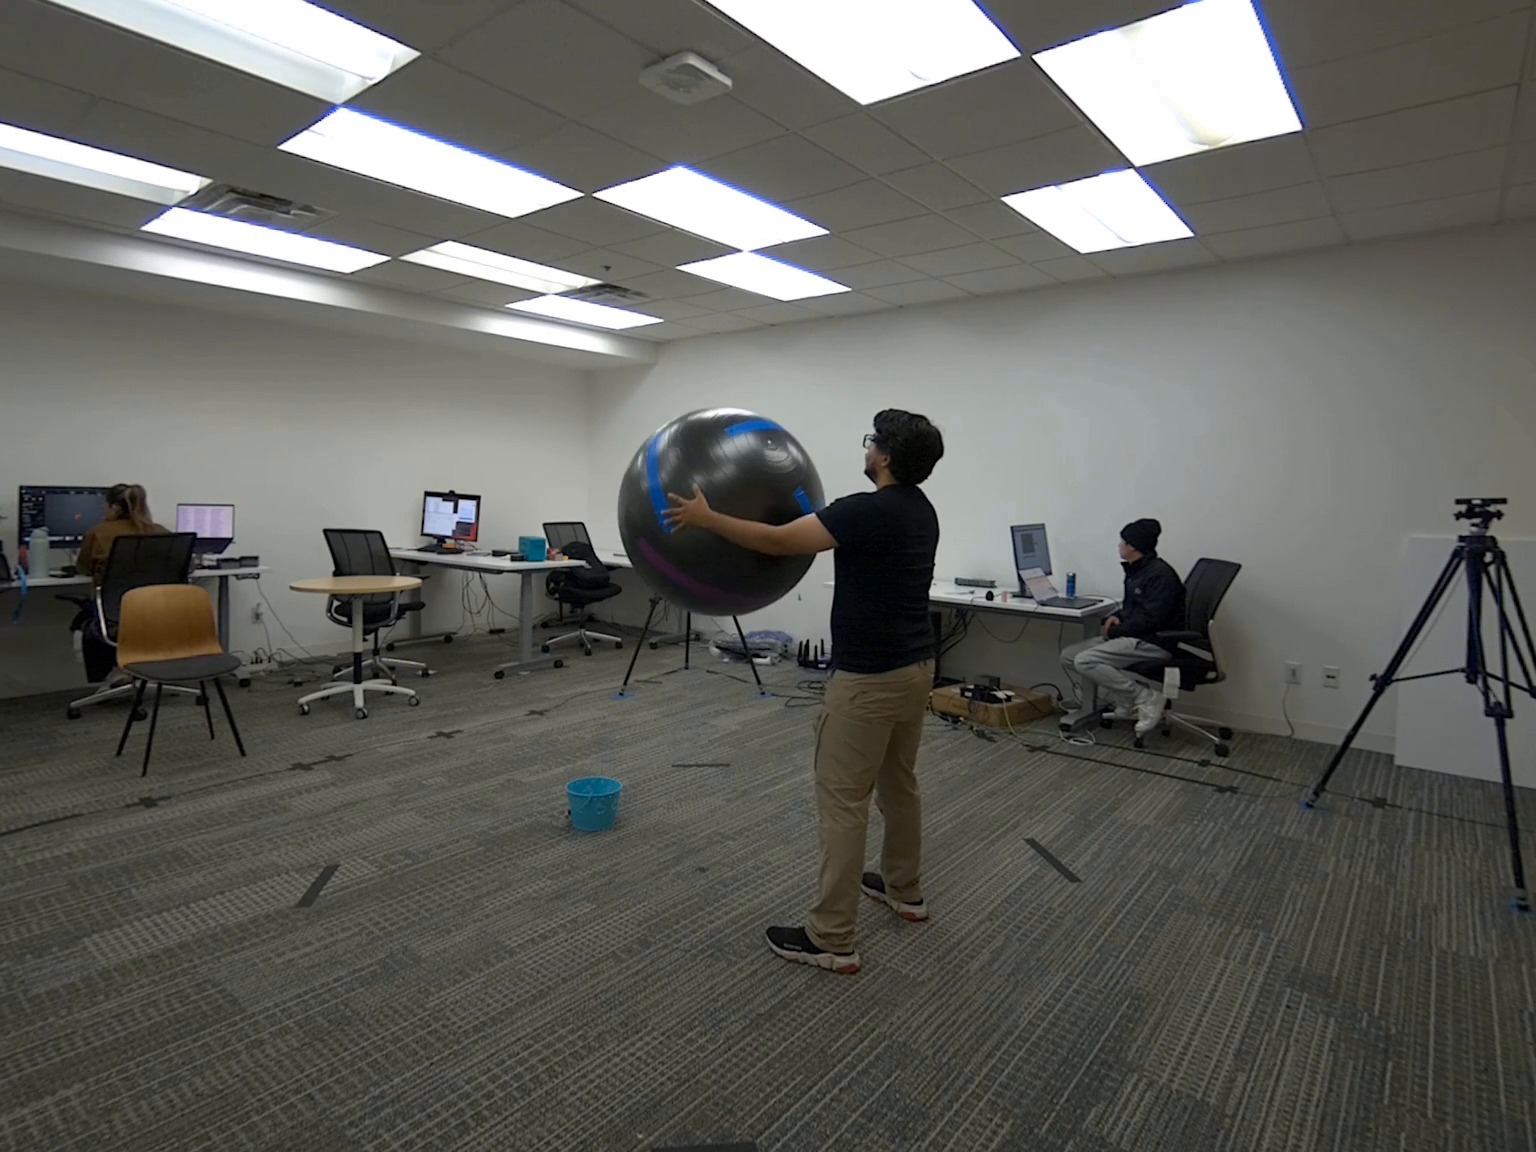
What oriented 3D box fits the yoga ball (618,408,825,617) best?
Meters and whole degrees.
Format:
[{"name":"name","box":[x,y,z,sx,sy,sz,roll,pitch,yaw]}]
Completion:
[{"name":"yoga ball","box":[-0.172,-0.226,3.101,0.757,0.756,0.761,1,4,-2]}]
